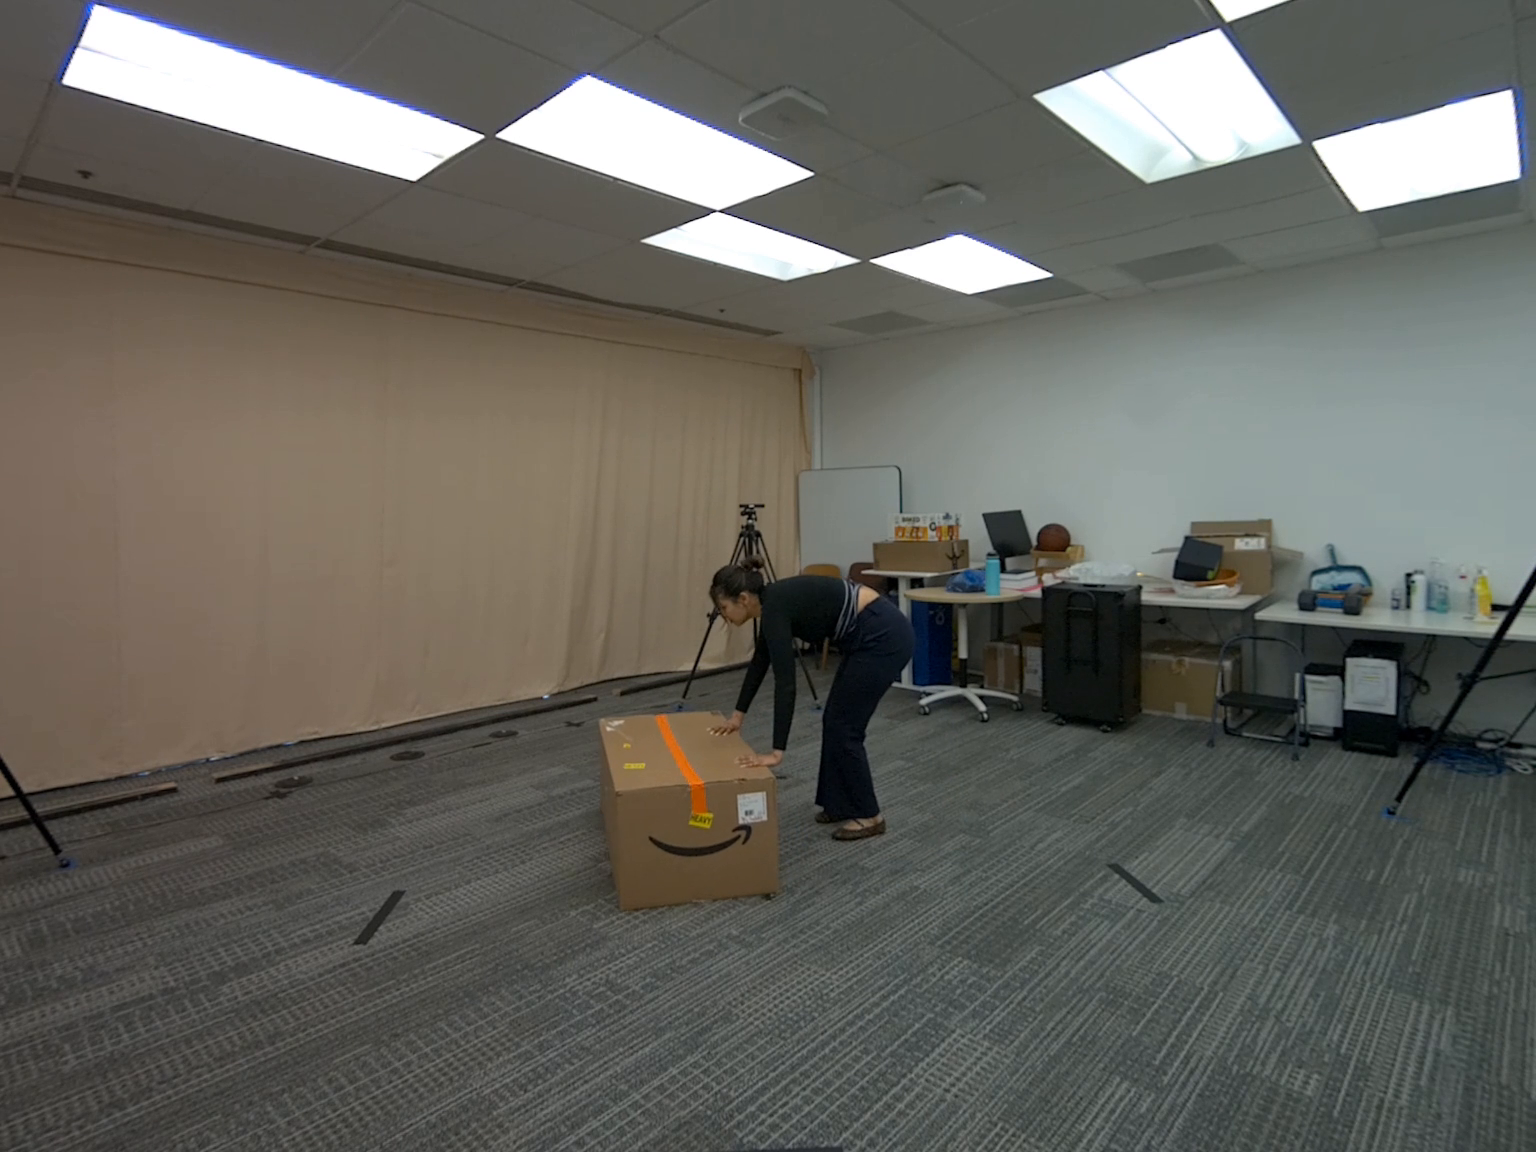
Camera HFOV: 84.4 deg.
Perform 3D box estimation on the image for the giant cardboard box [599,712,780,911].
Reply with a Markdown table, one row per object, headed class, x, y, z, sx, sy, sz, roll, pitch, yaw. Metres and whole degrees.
| class | x | y | z | sx | sy | sz | roll | pitch | yaw |
| --- | --- | --- | --- | --- | --- | --- | --- | --- | --- |
| giant cardboard box | -0.371 | 0.894 | 3.437 | 0.569 | 0.425 | 1.042 | -1 | 4 | -14 |
